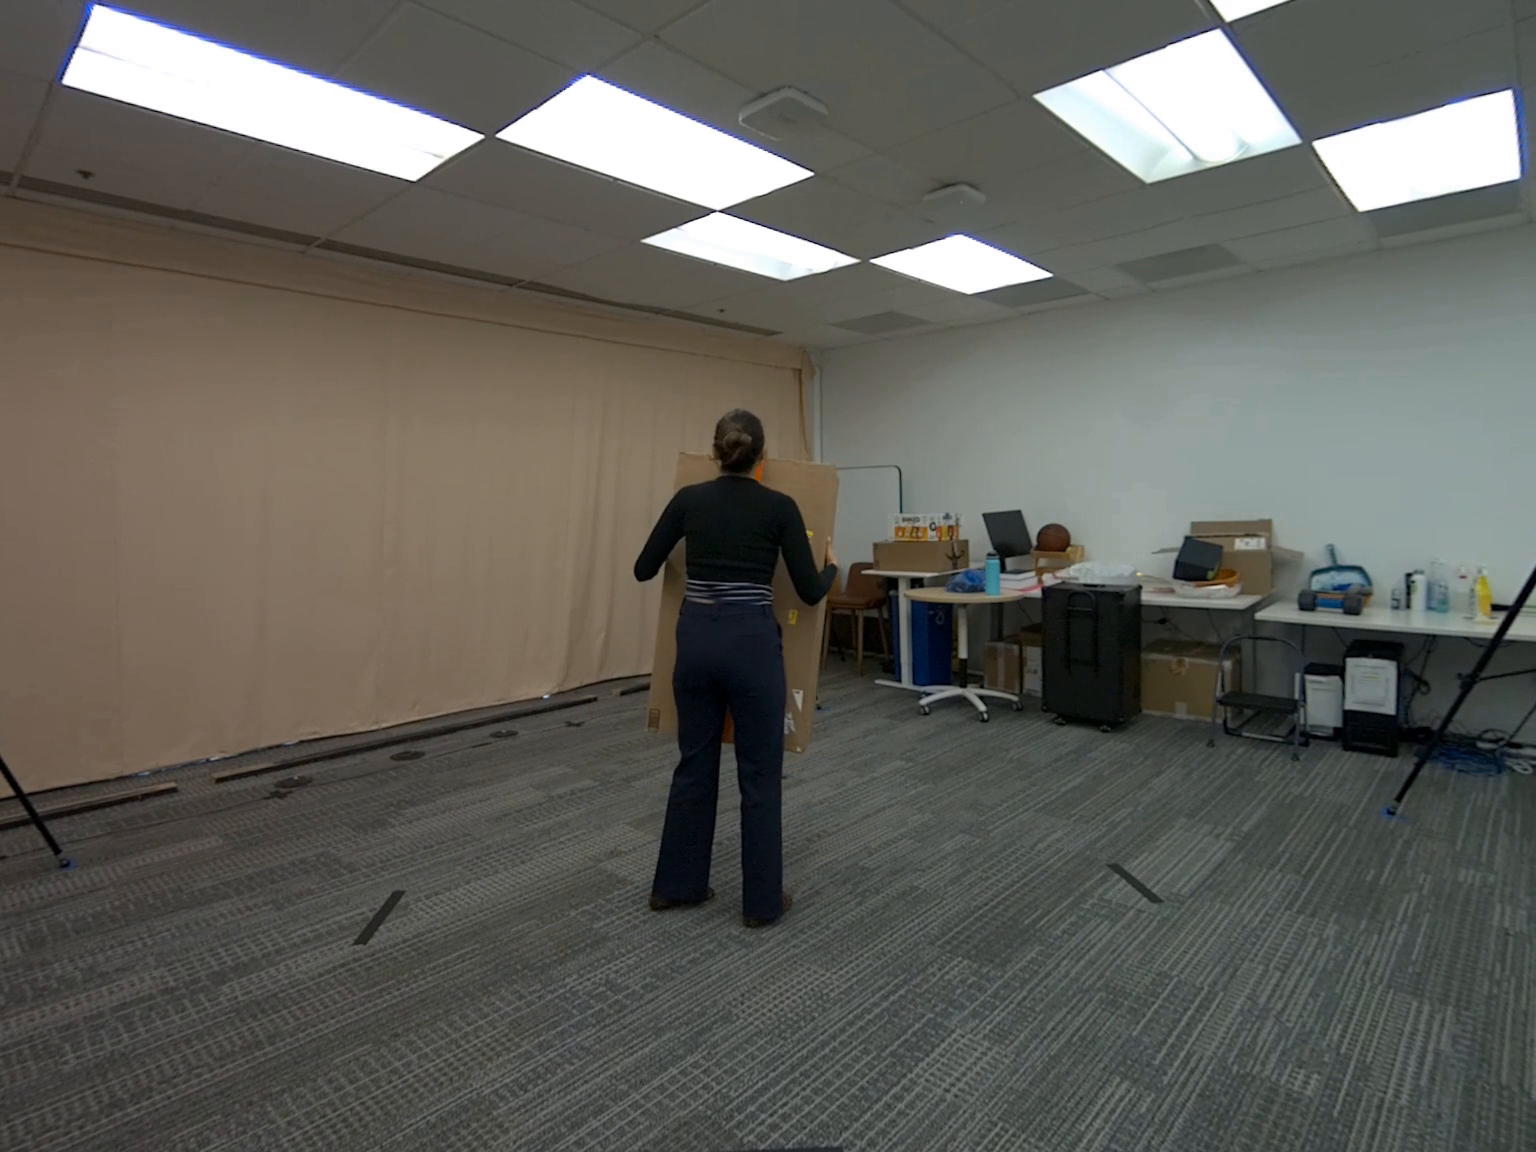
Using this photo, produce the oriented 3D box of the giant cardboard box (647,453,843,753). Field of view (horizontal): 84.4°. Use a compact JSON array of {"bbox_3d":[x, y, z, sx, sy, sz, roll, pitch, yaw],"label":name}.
[{"bbox_3d":[-0.086,0.093,3.194,0.584,1.027,0.421,6,-2,8],"label":"giant cardboard box"}]
